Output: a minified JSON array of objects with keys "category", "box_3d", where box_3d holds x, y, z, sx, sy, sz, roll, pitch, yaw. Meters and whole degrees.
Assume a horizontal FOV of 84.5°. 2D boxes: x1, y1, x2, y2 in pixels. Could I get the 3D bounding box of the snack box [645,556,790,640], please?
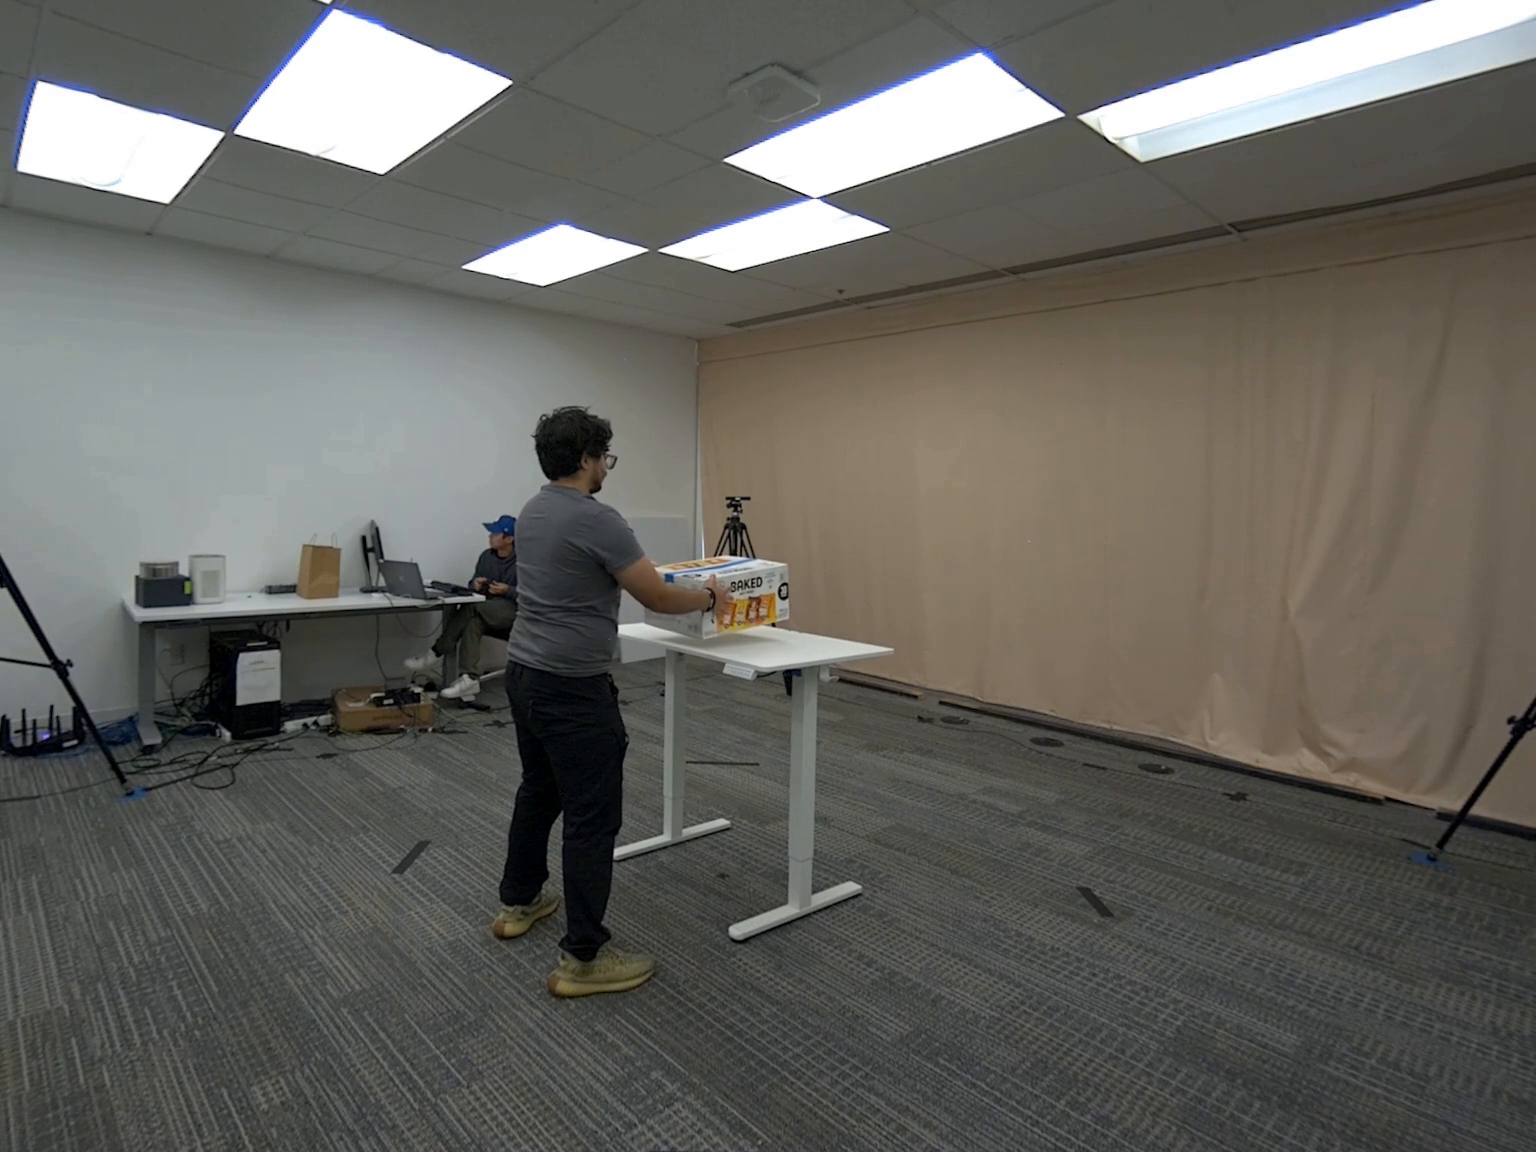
[{"category":"snack box","box_3d":[-0.194,0.070,3.008,0.397,0.204,0.349,-11,13,-42]}]
